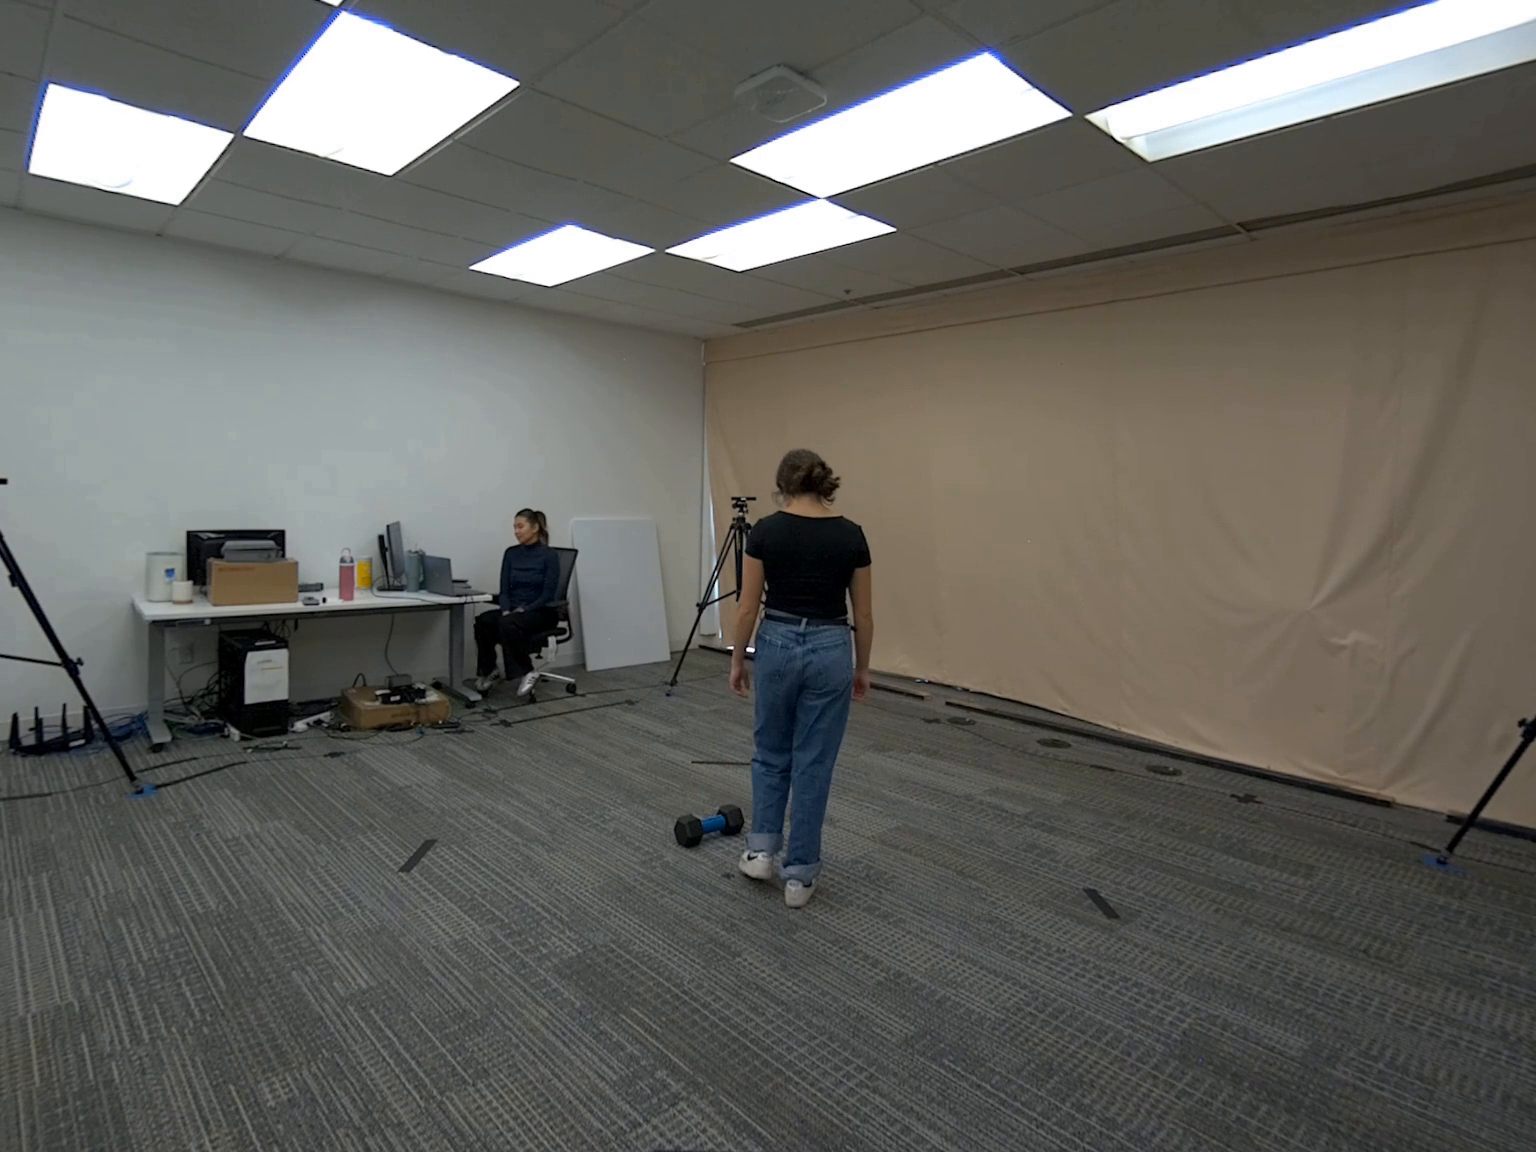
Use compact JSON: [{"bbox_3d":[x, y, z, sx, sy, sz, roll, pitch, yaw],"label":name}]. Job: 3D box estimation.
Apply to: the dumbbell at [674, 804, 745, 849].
[{"bbox_3d":[-0.246,1.020,3.442,0.287,0.125,0.109,-3,-25,-40],"label":"dumbbell"}]
